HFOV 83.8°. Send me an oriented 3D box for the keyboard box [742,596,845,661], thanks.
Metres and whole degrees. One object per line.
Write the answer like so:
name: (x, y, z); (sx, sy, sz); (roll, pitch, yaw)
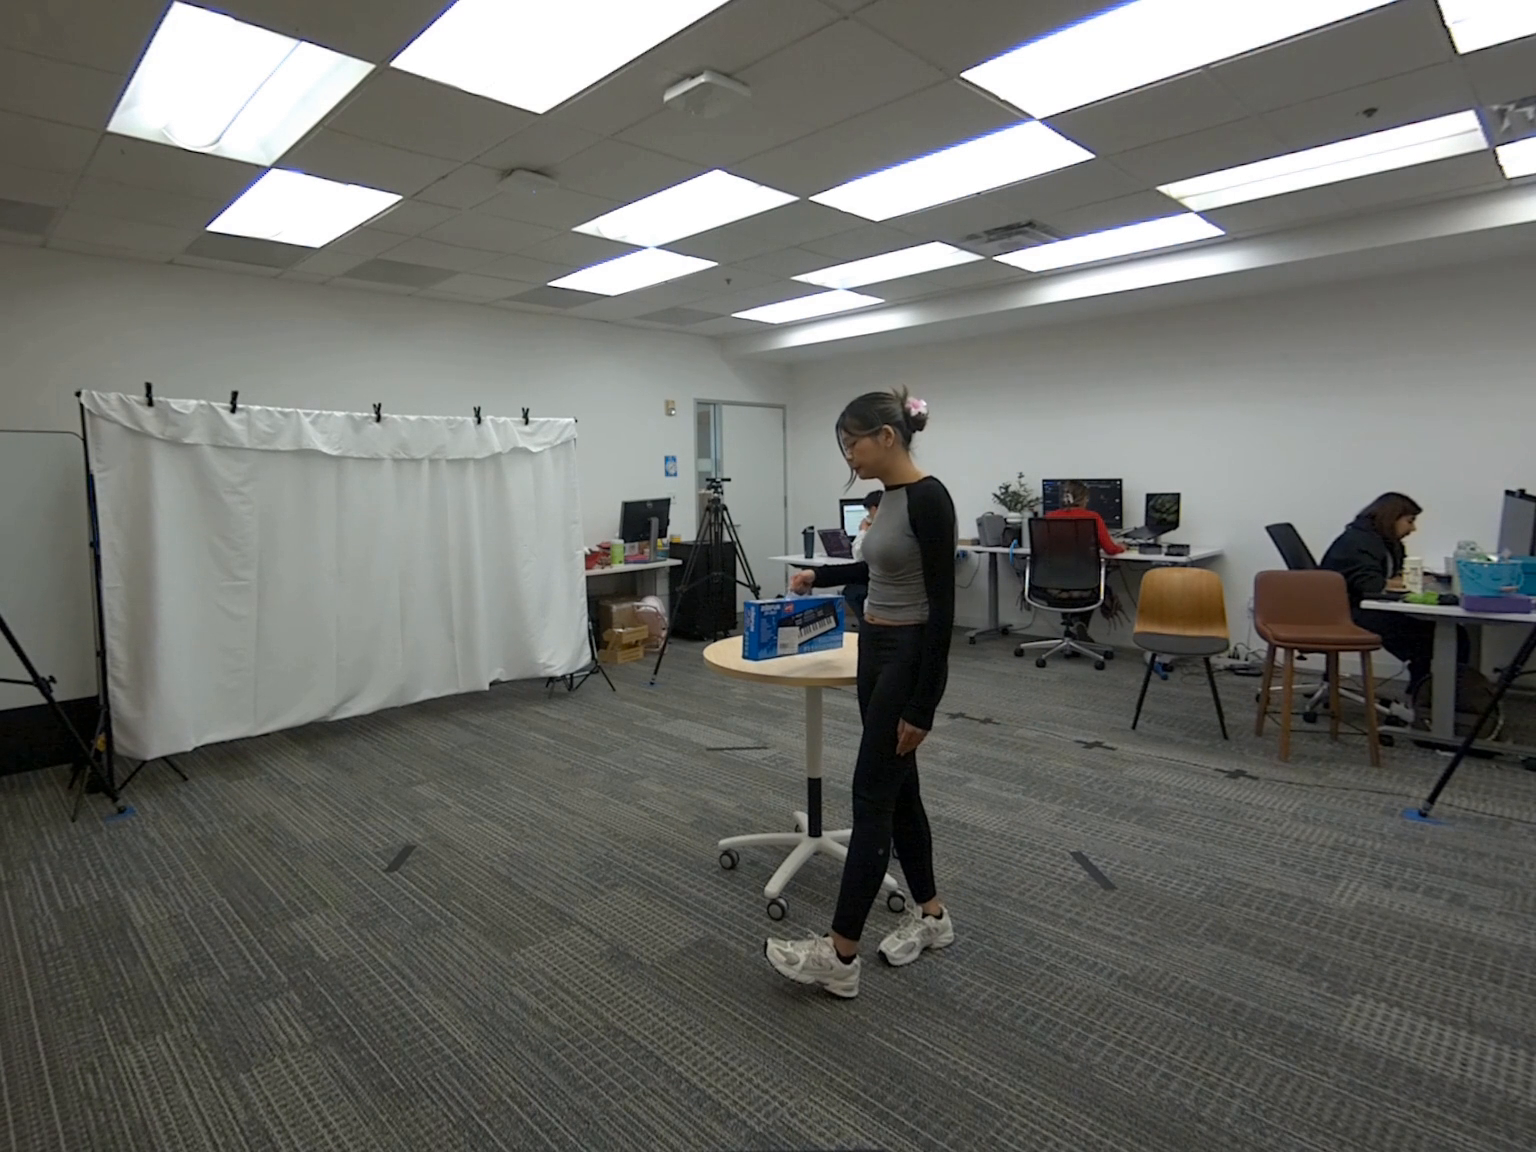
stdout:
keyboard box: (0.089, 0.160, 2.660); (0.061, 0.175, 0.424); (4, 4, 41)
